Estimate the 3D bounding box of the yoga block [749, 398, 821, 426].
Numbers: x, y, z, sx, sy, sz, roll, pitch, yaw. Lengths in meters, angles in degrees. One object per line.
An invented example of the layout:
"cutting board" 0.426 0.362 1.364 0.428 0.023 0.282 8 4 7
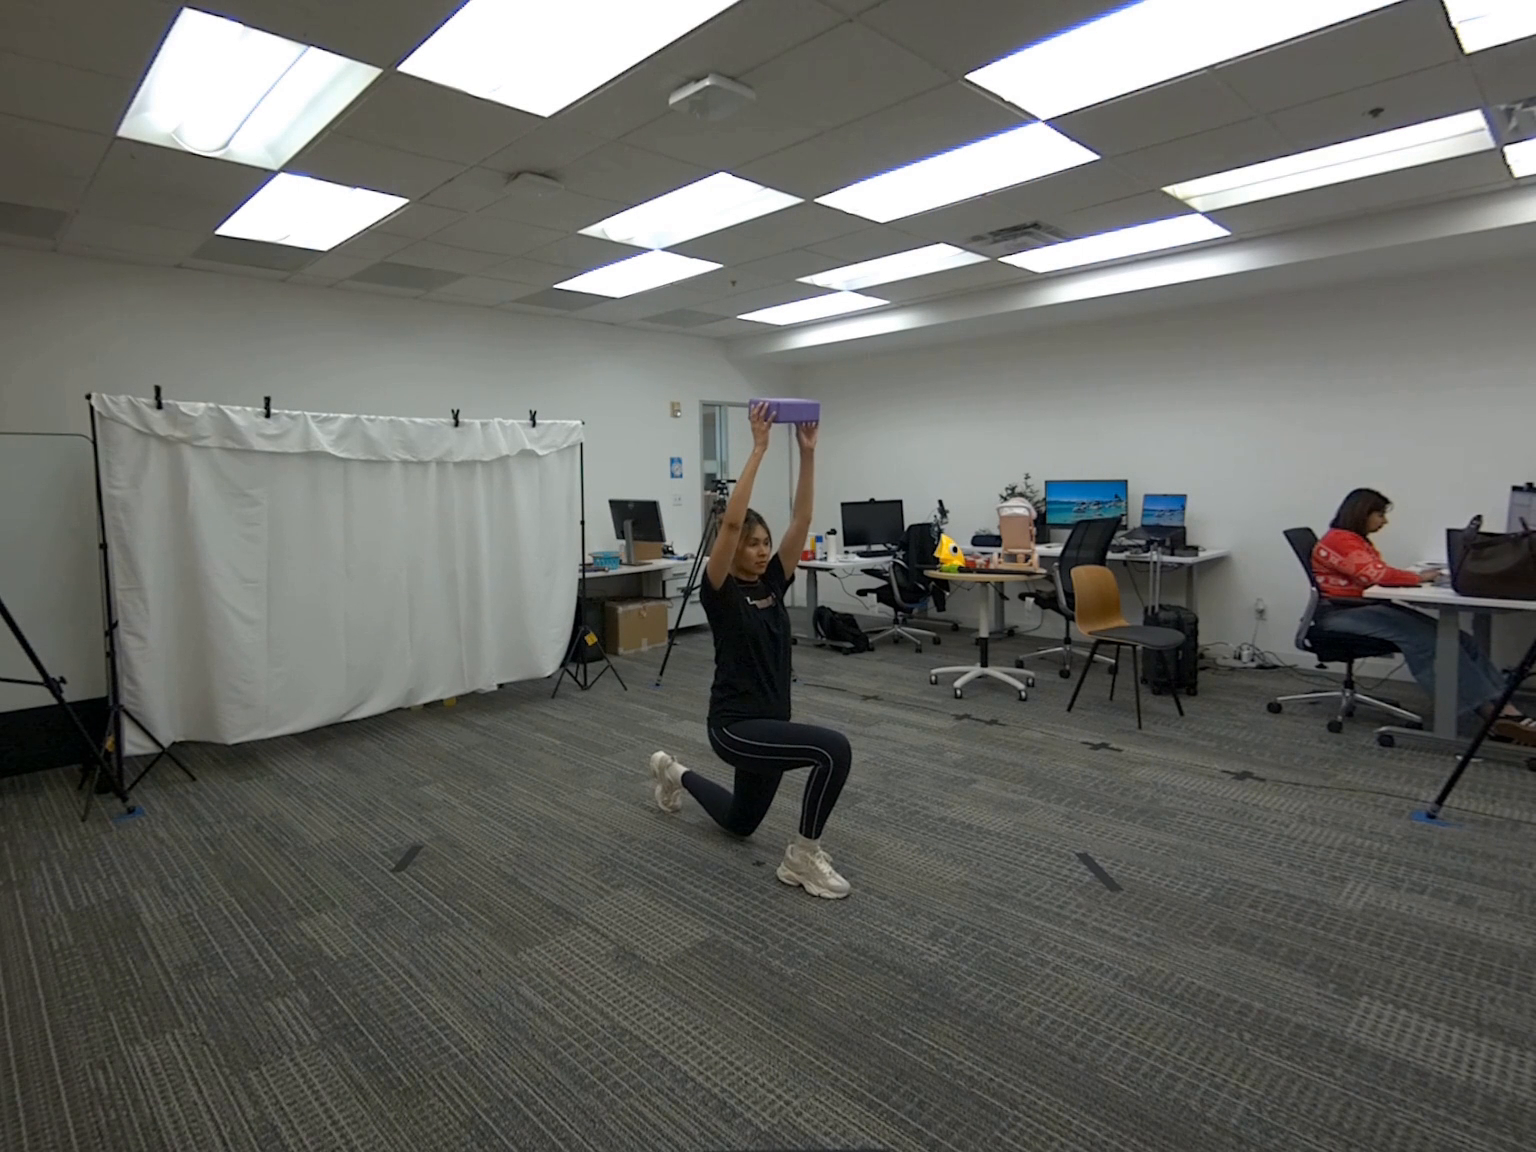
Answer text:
"yoga block" 0.055 -0.592 3.019 0.154 0.075 0.224 16 19 41
